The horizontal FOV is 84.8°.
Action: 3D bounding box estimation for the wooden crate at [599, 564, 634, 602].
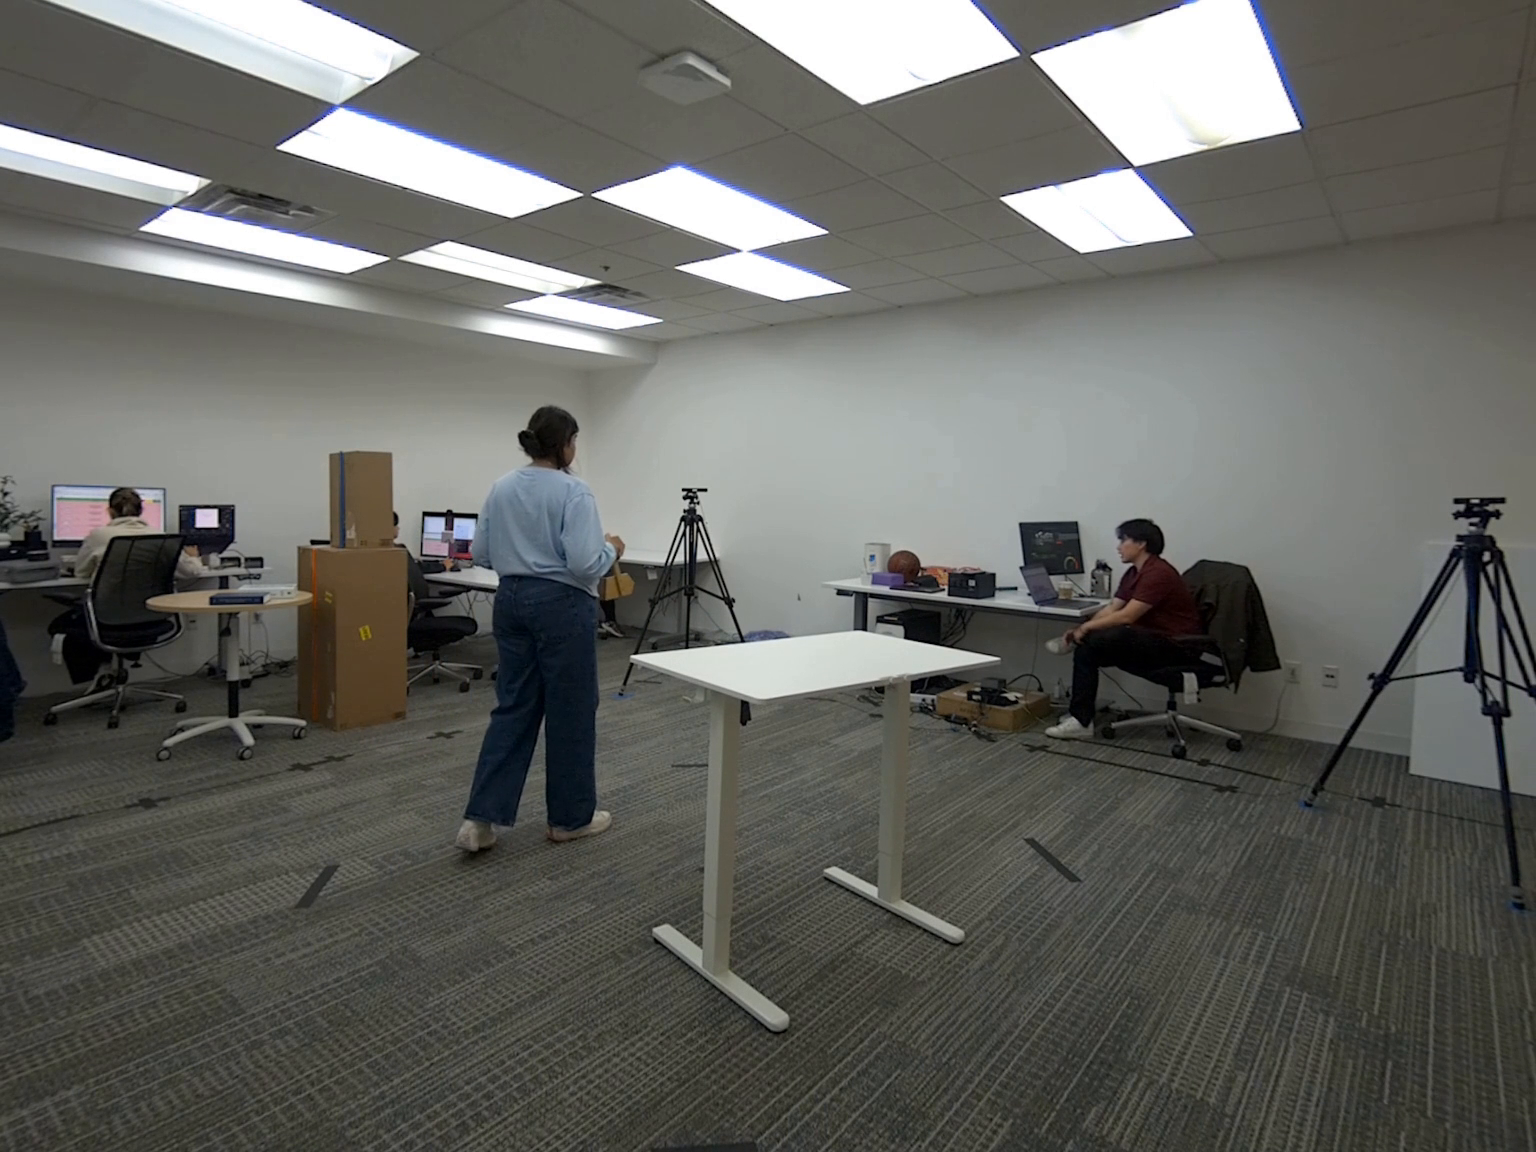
[{"bbox_3d":[-0.777,-0.057,3.601,0.331,0.271,0.297,4,8,19],"label":"wooden crate"}]
